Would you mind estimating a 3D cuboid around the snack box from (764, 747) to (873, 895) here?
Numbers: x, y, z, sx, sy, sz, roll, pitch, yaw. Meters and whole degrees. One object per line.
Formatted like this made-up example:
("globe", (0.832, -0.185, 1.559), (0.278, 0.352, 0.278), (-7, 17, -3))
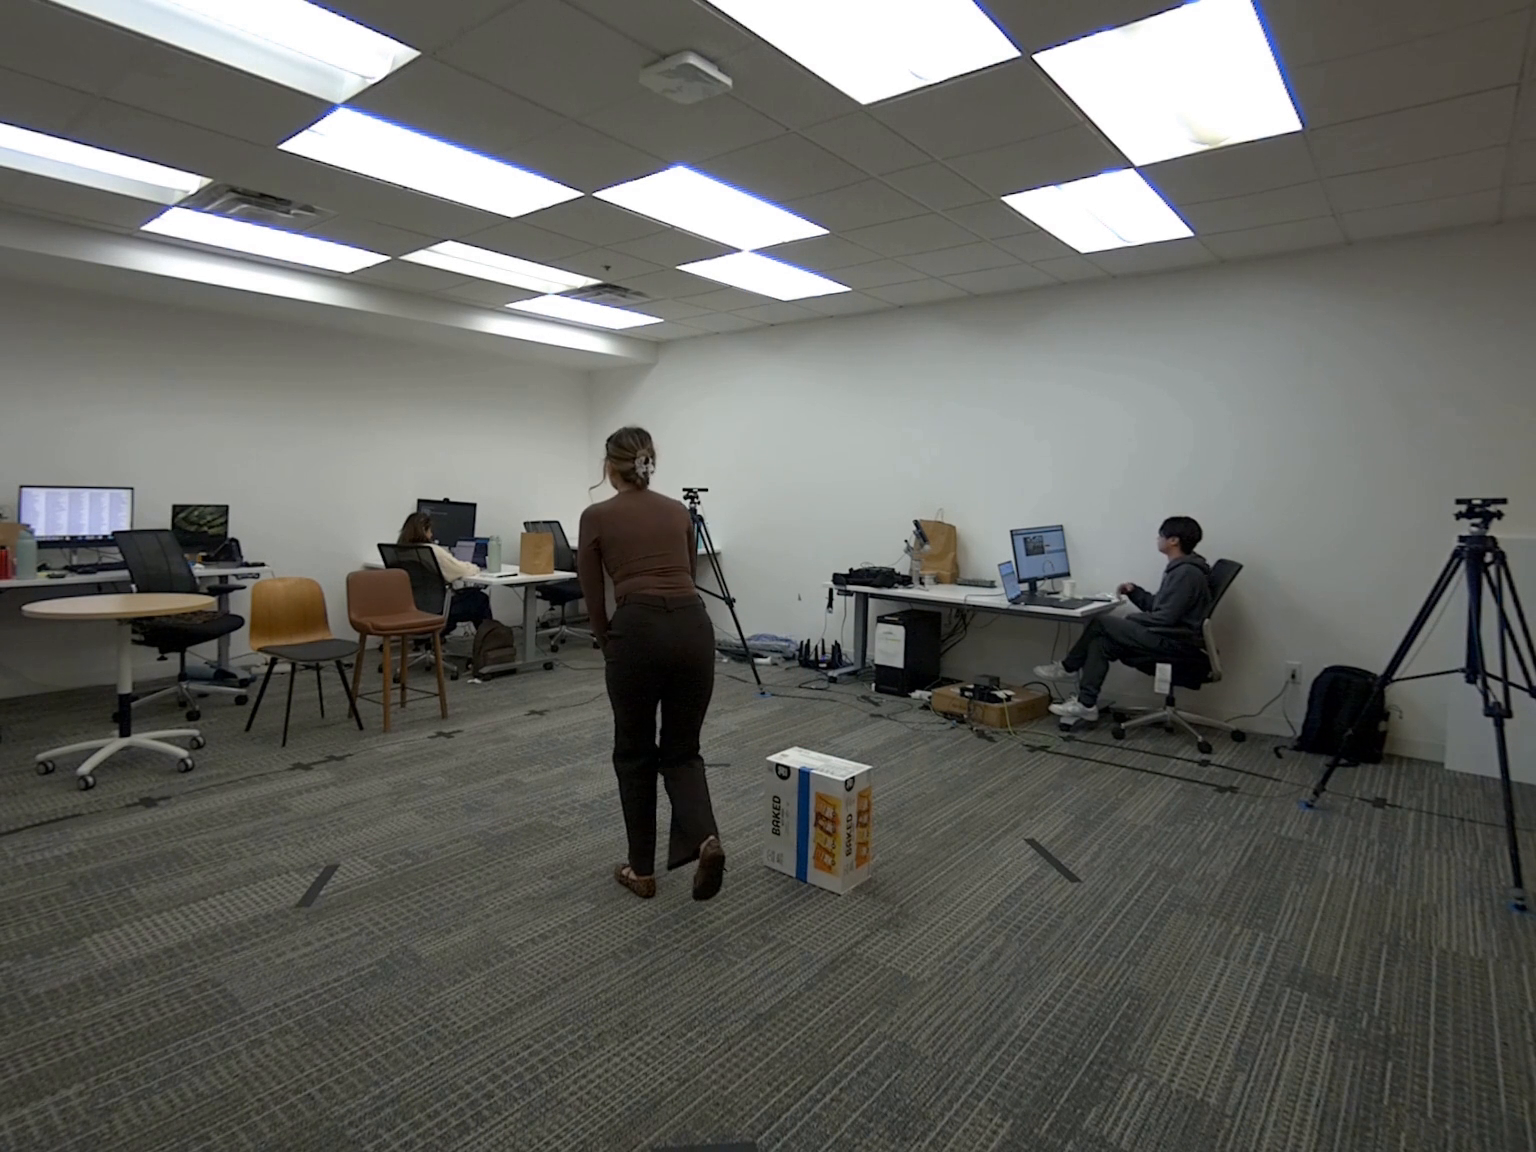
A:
("snack box", (0.174, 0.878, 3.098), (0.352, 0.404, 0.199), (4, 4, 39))
